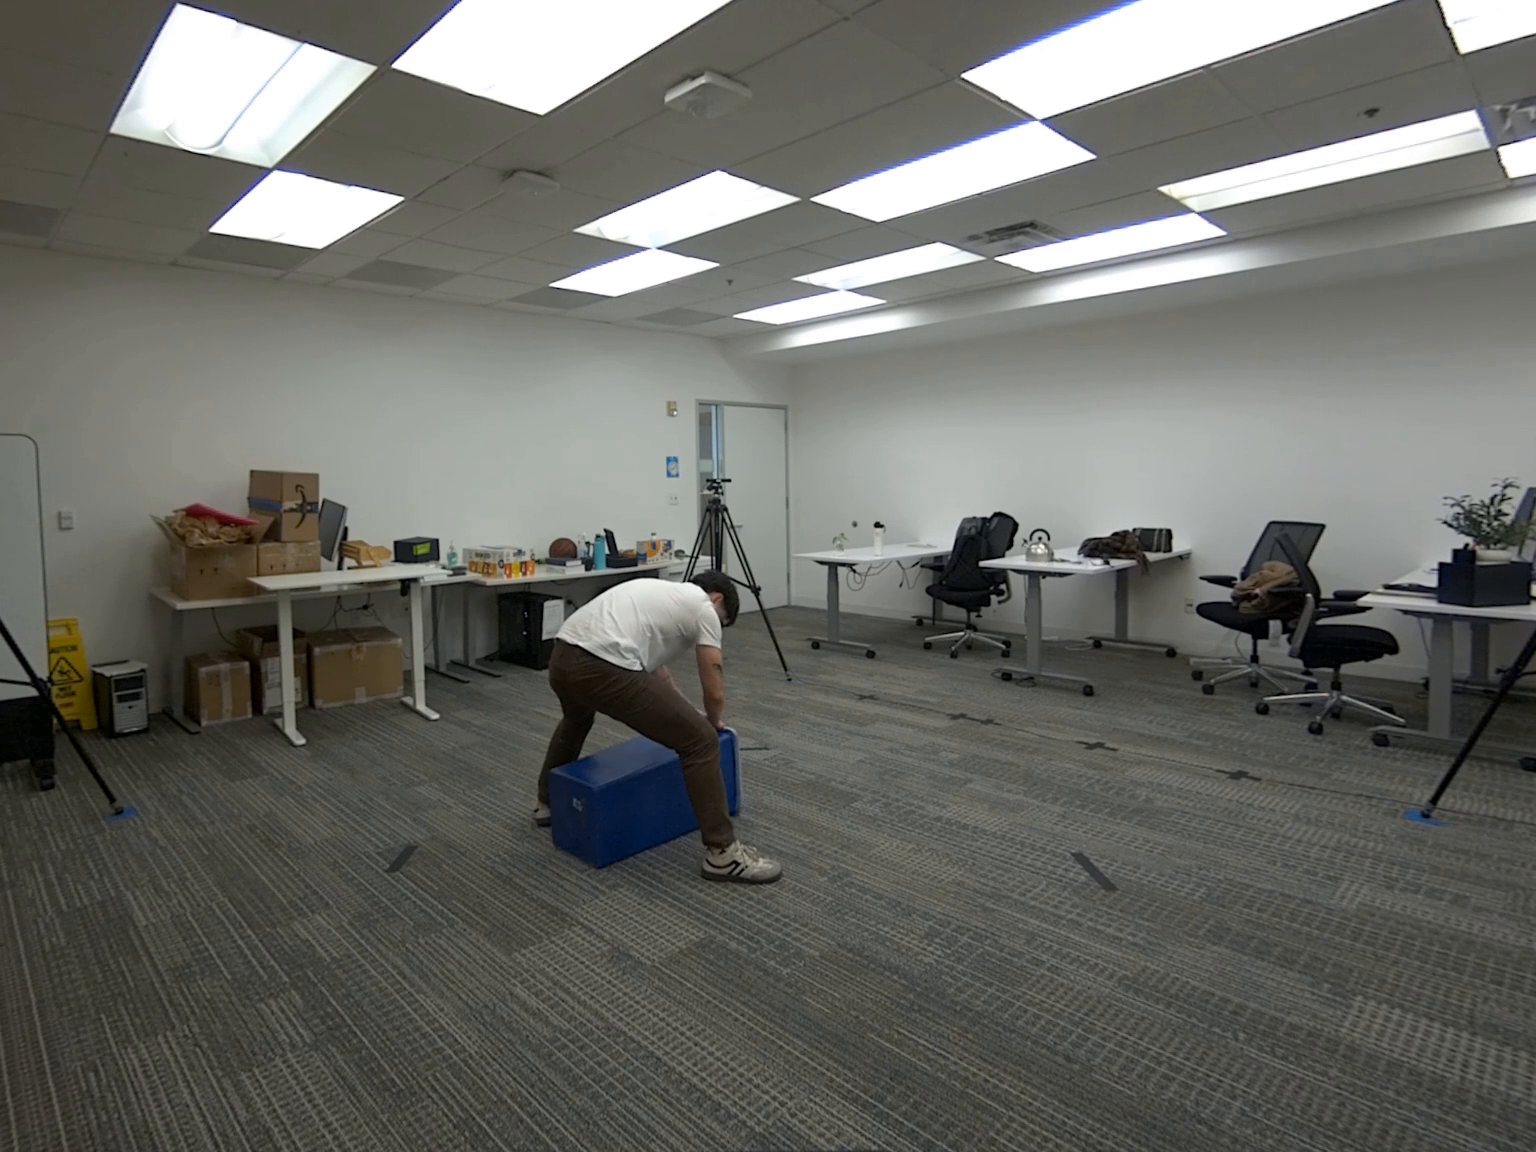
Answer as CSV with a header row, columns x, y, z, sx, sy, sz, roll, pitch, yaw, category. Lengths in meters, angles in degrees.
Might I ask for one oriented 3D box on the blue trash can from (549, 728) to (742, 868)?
x,y,z,sx,sy,sz,roll,pitch,yaw,category
-0.485,0.848,3.423,0.386,0.376,0.696,4,10,44,blue trash can
